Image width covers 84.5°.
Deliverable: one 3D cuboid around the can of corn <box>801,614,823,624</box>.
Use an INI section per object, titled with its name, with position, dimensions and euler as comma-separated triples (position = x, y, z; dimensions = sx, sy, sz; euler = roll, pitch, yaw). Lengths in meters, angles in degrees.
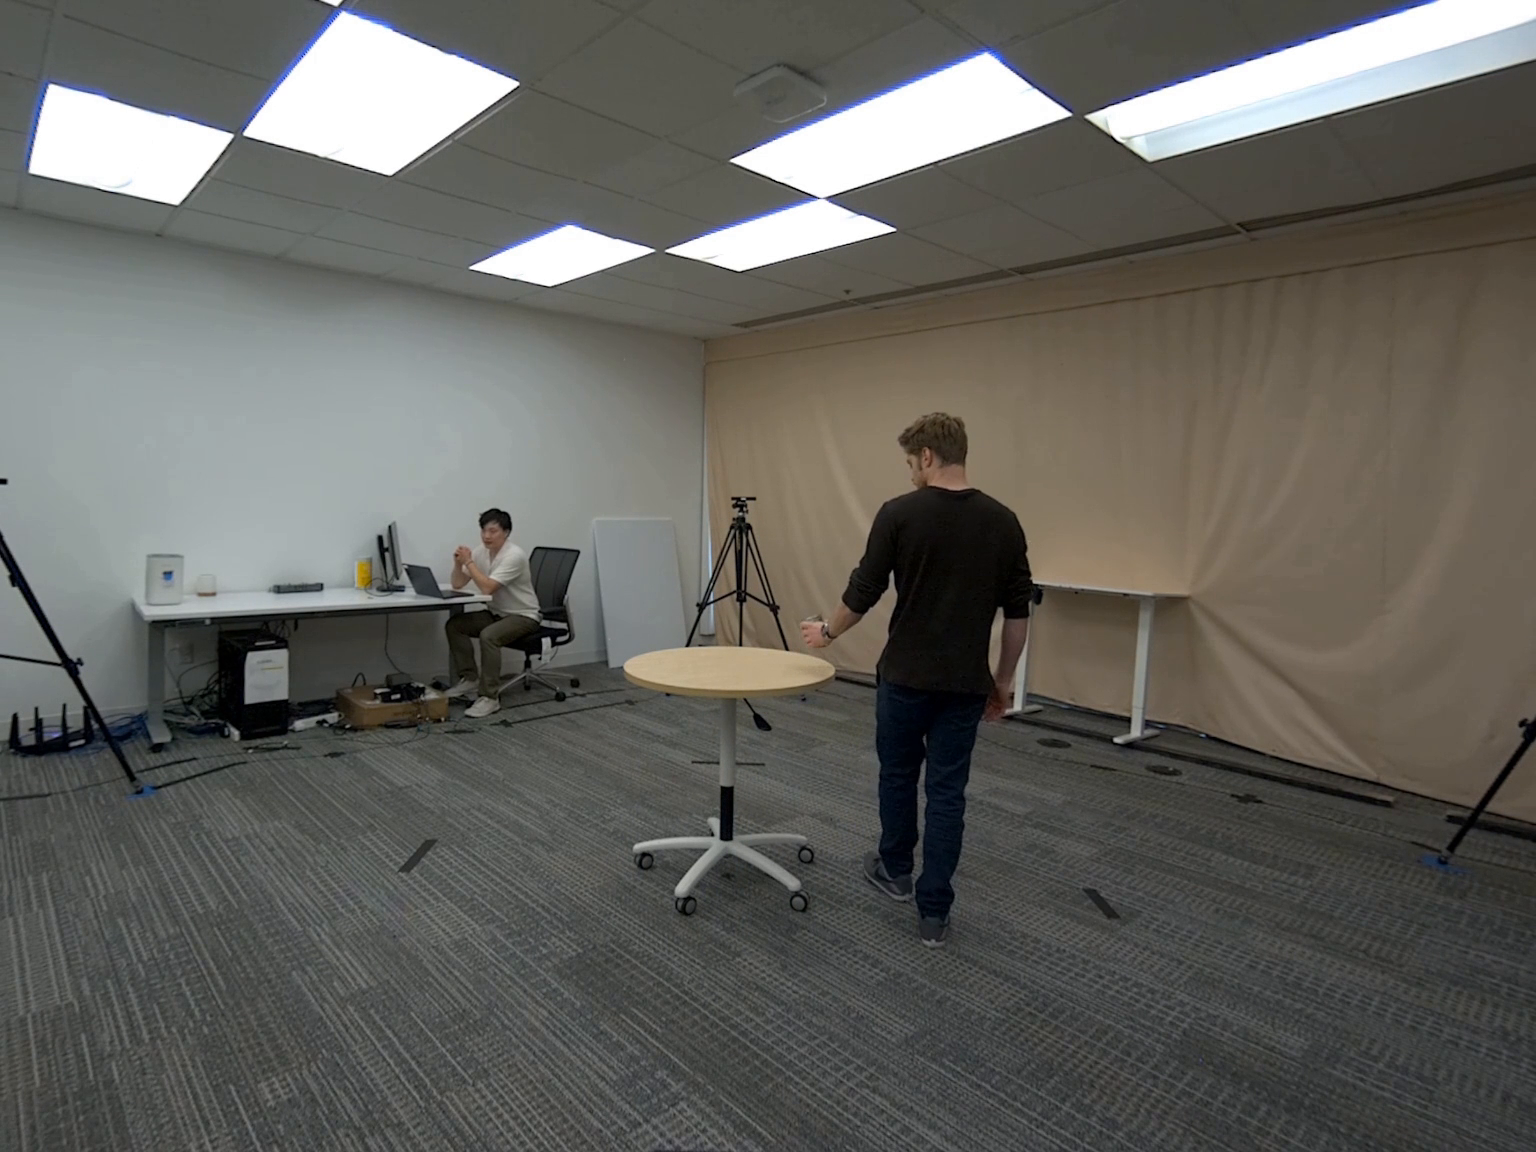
[can of corn]
position = 0.171, 0.213, 3.031
dimensions = 0.074, 0.110, 0.075
euler = 15, 22, -8
